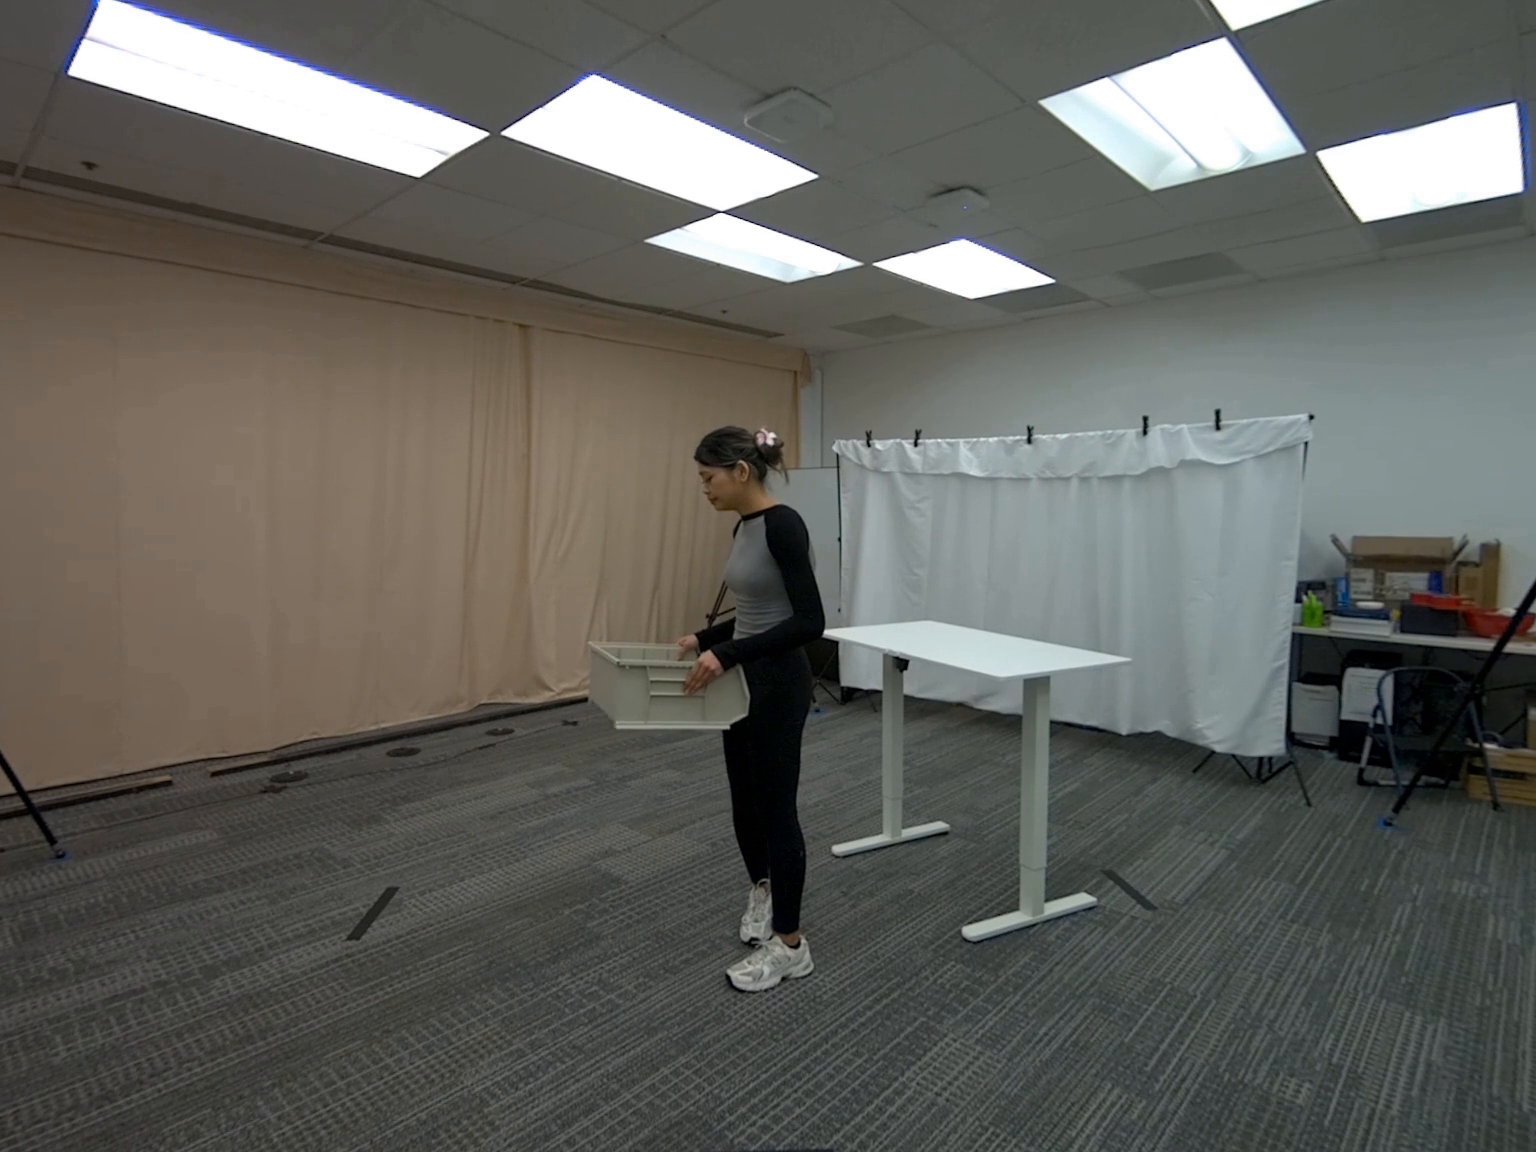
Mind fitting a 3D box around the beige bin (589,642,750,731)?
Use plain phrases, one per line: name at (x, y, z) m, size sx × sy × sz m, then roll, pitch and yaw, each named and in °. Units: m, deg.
beige bin at (-0.298, 0.306, 2.424) m, size 0.369 × 0.189 × 0.431 m, roll 2°, pitch 2°, yaw -21°
